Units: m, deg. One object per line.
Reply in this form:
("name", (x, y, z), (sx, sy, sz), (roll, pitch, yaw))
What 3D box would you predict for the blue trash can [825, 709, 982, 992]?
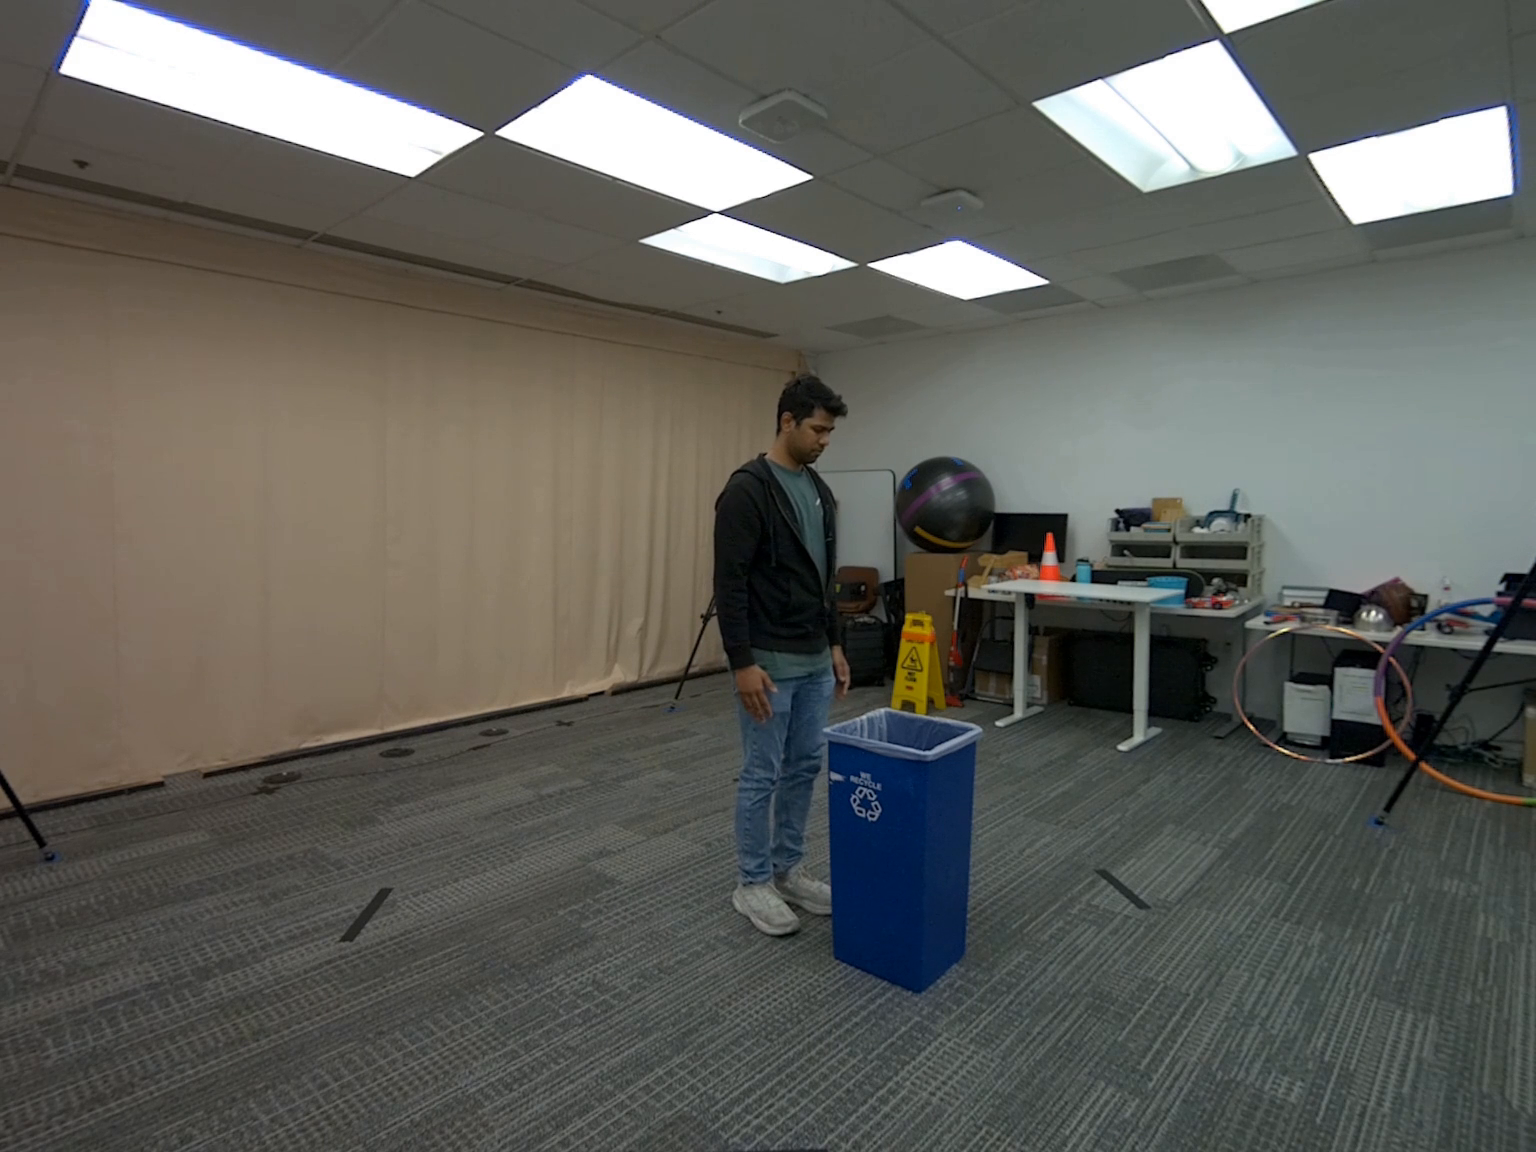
("blue trash can", (0.425, 0.821, 2.578), (0.386, 0.712, 0.367), (2, 4, 40))
